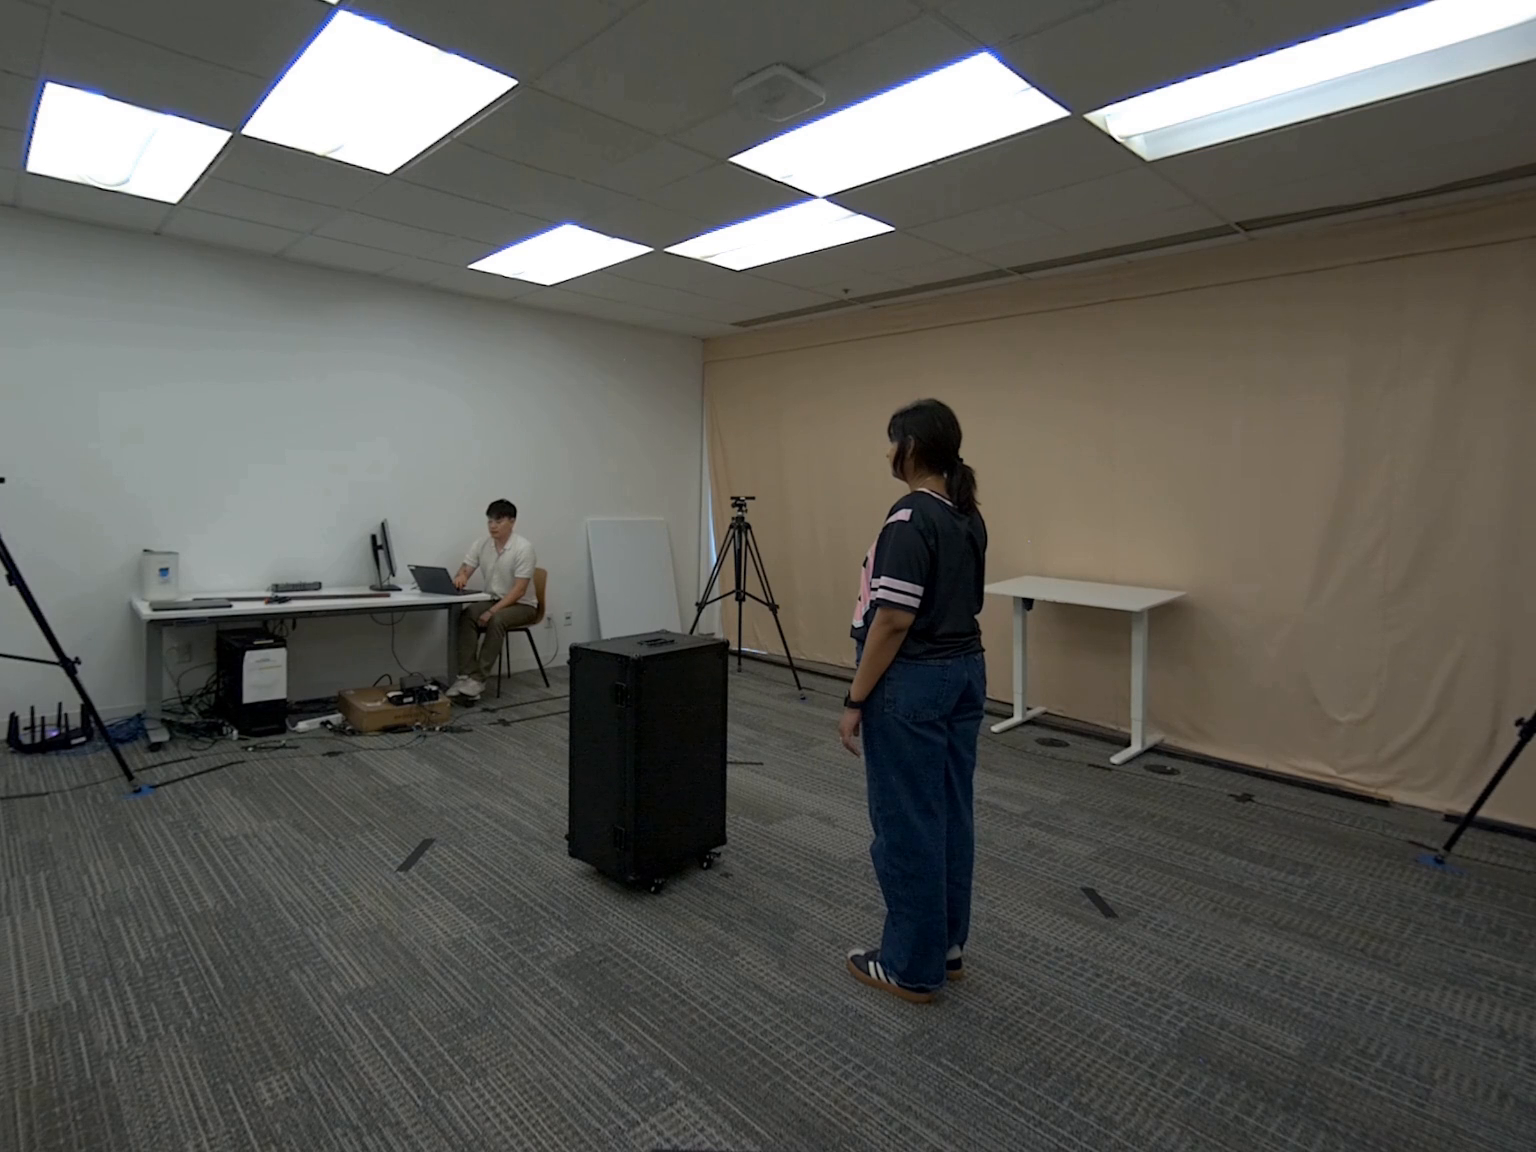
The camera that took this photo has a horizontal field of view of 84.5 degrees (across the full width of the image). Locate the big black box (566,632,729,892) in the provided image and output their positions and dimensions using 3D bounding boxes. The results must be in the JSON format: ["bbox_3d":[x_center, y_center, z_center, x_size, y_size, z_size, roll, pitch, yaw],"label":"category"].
[{"bbox_3d":[-0.454,0.674,3.125,0.395,0.867,0.512,3,3,39],"label":"big black box"}]
